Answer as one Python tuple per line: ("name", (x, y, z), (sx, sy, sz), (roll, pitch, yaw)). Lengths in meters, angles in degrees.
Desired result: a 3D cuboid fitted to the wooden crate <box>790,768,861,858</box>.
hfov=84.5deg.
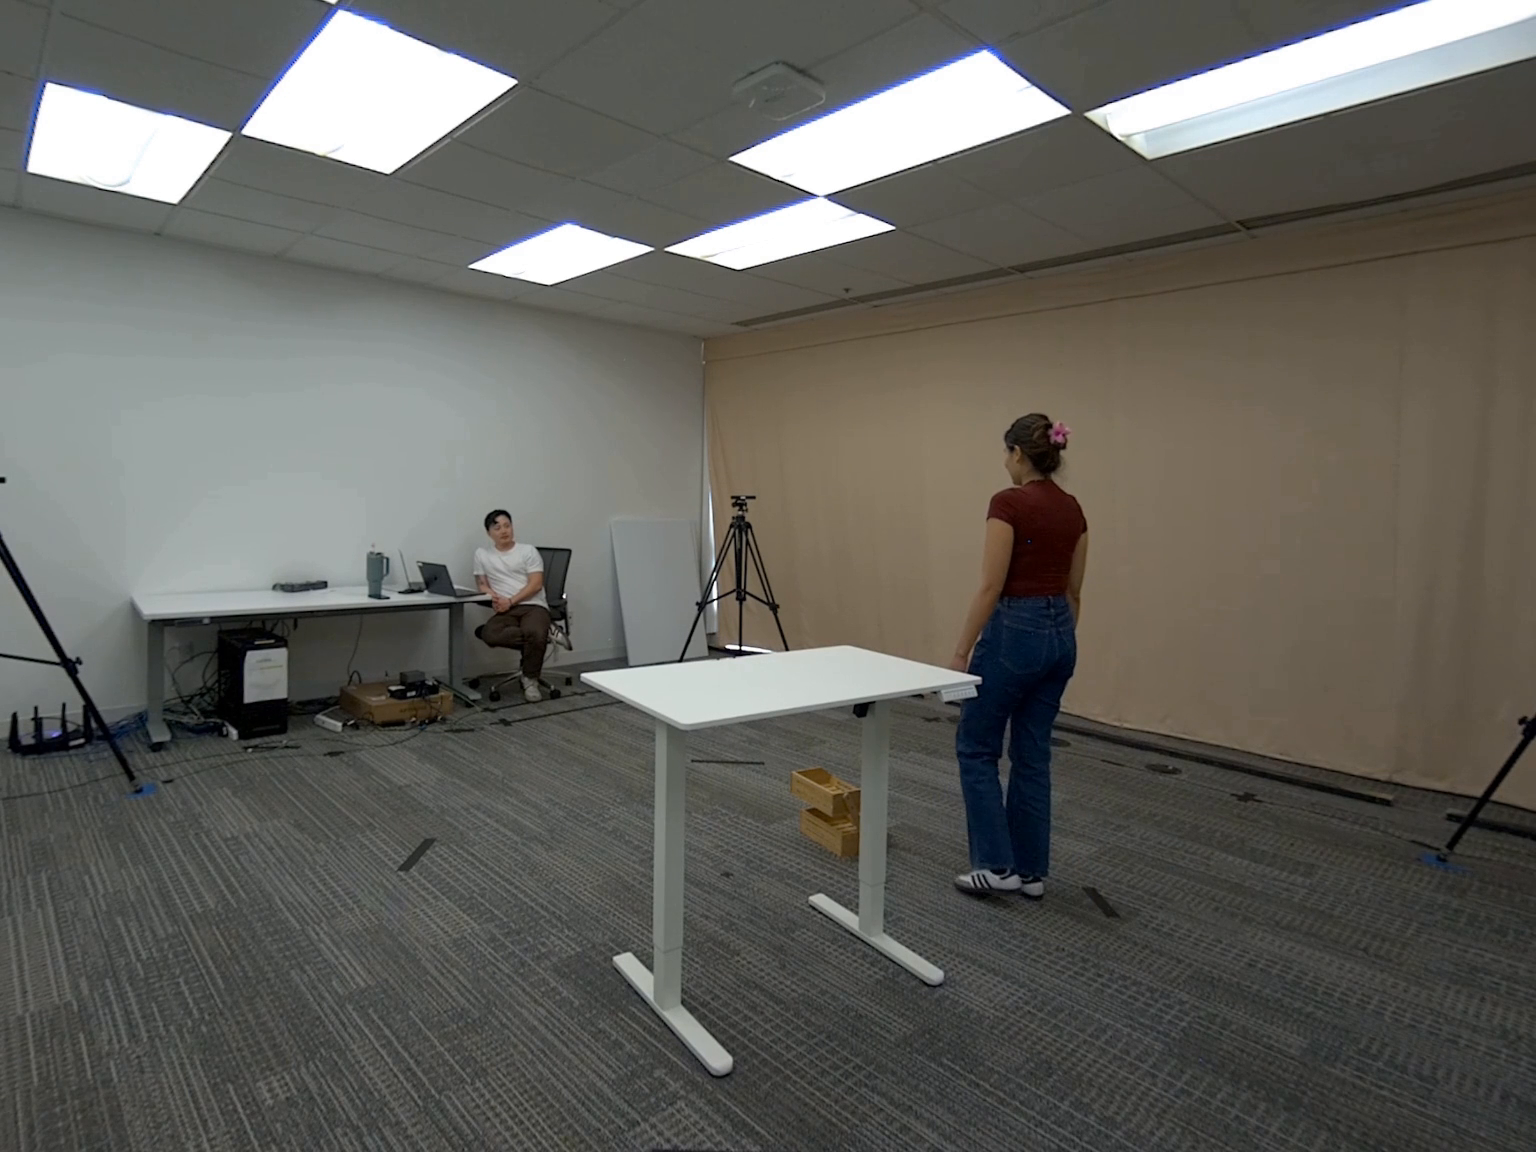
("wooden crate", (0.292, 0.948, 3.447), (0.296, 0.272, 0.332), (-1, 5, -30))
